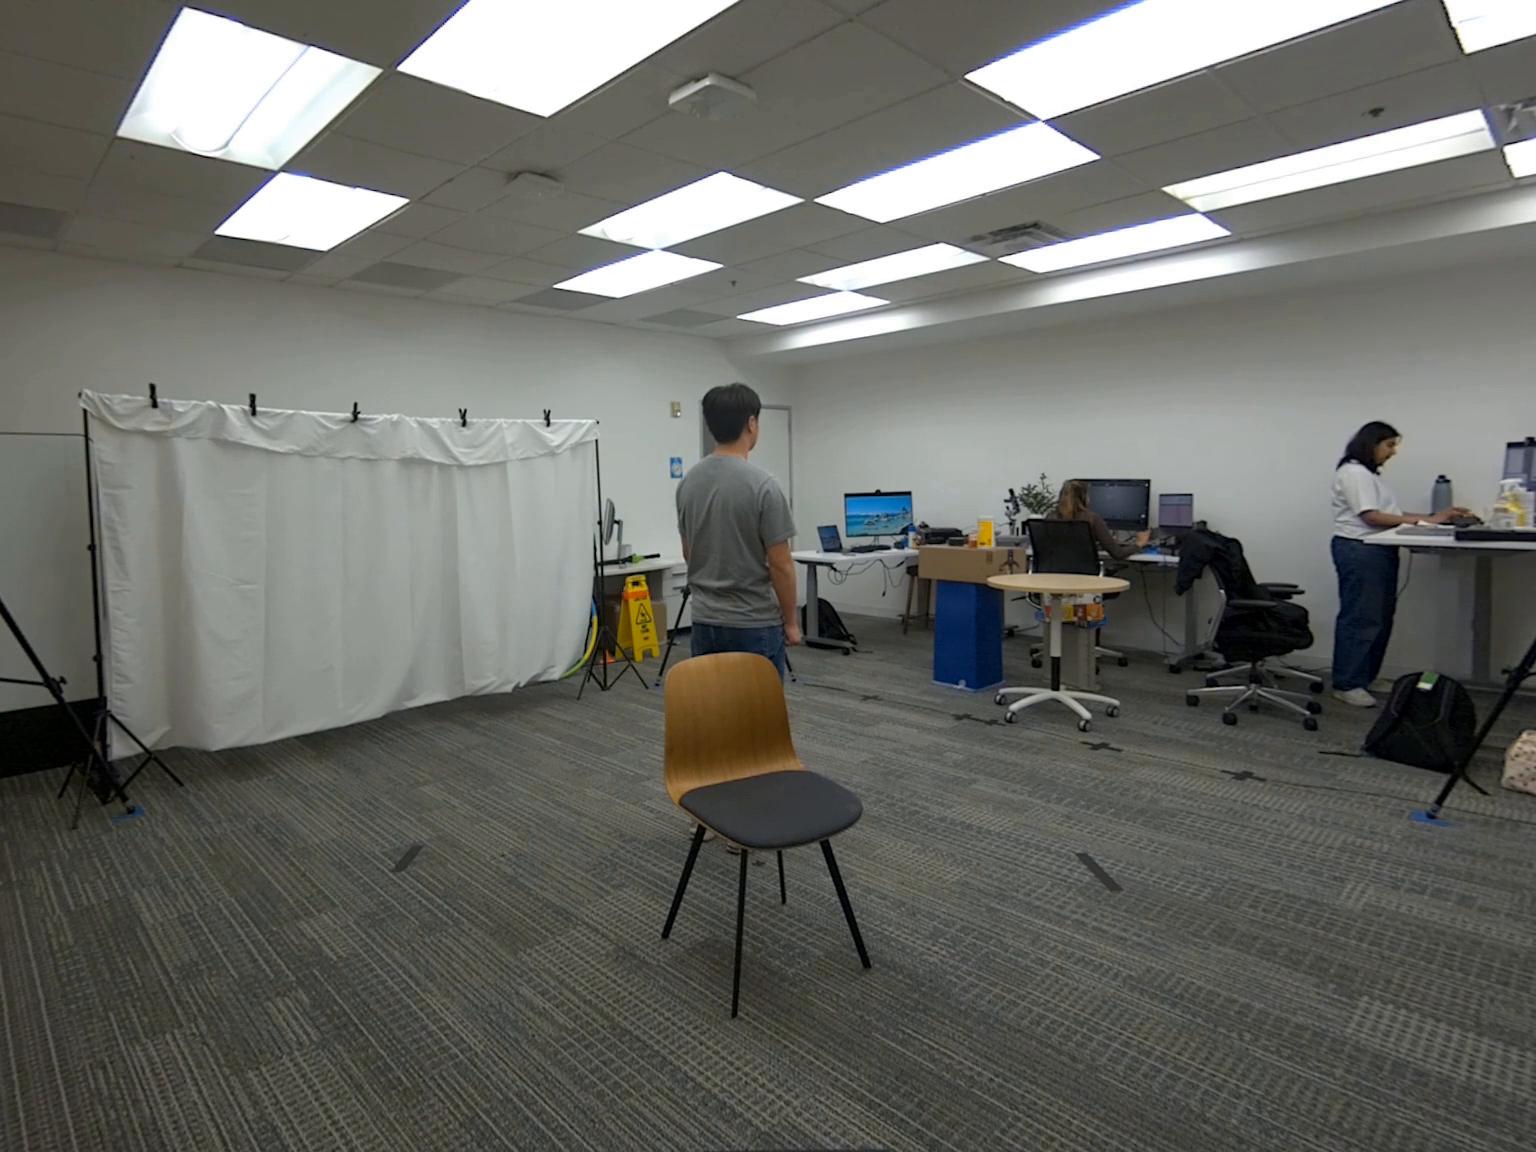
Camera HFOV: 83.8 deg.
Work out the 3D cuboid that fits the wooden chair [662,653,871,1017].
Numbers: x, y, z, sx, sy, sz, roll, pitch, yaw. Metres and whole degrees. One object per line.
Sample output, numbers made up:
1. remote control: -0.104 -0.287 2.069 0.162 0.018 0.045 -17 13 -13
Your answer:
1. wooden chair: -0.022 0.696 2.480 0.467 0.877 0.536 -4 1 -30
